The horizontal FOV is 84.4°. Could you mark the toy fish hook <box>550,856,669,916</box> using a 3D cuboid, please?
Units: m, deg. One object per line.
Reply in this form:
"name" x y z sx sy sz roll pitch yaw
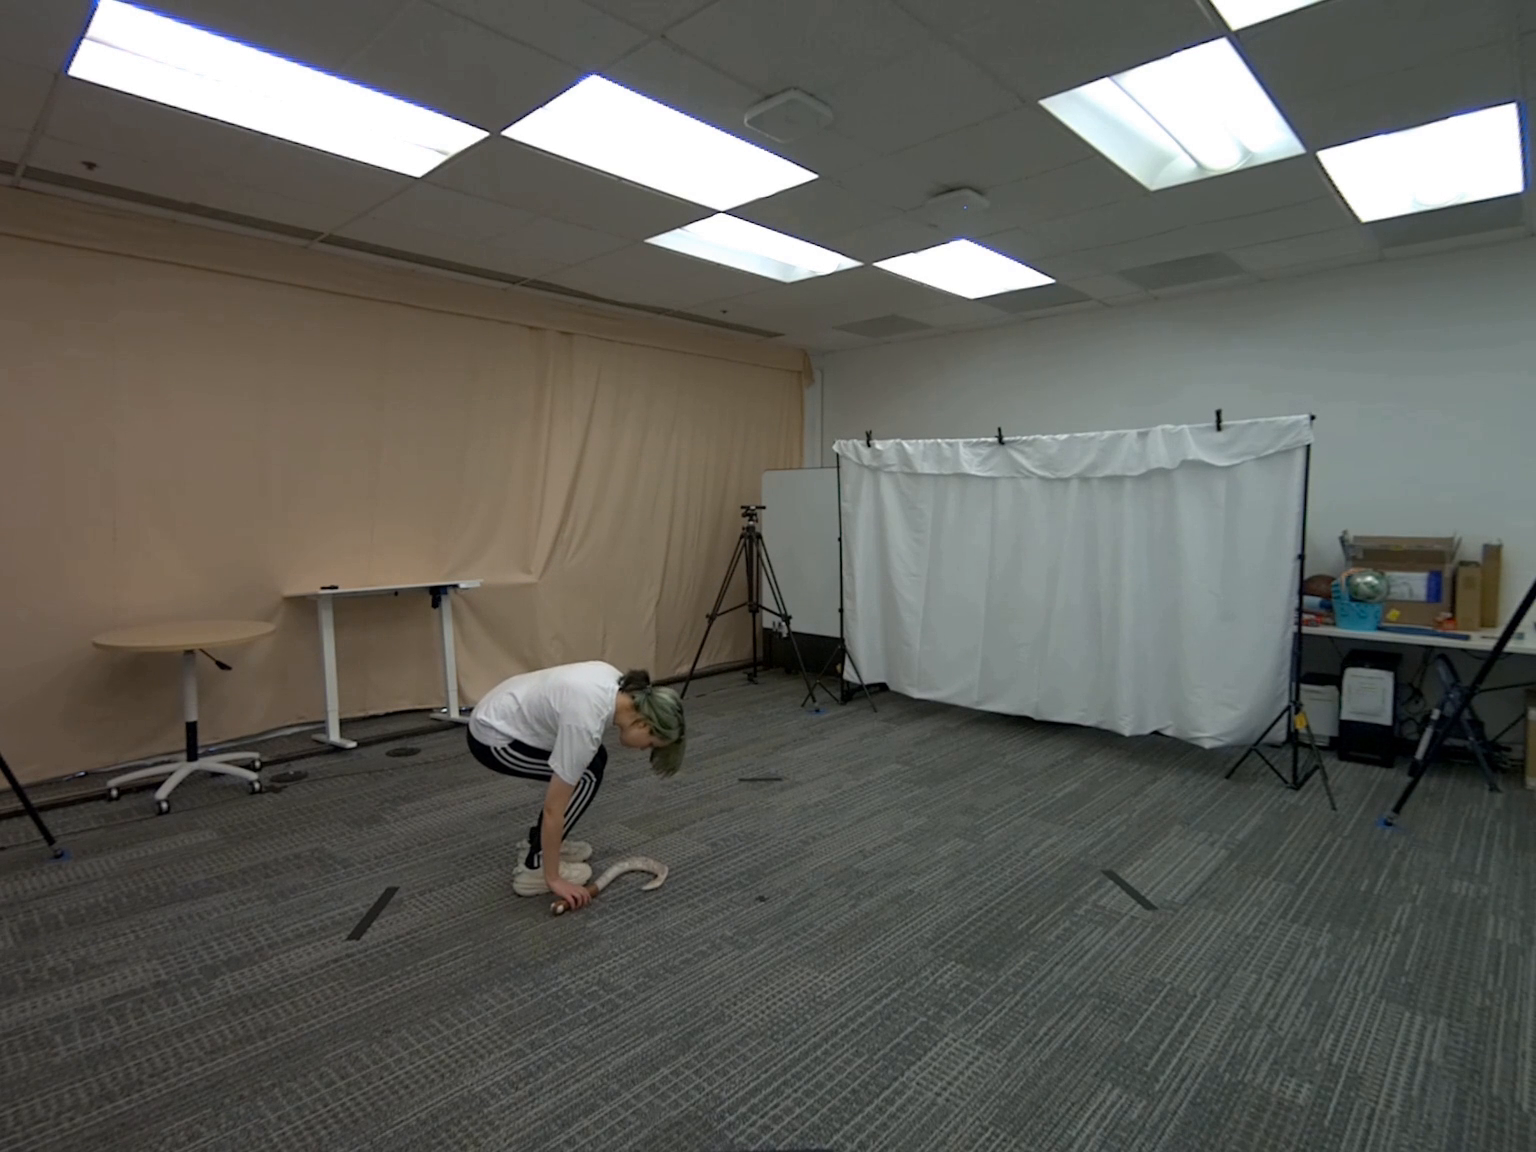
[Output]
"toy fish hook" -0.553 1.123 3.036 0.231 0.048 0.492 0 4 33
